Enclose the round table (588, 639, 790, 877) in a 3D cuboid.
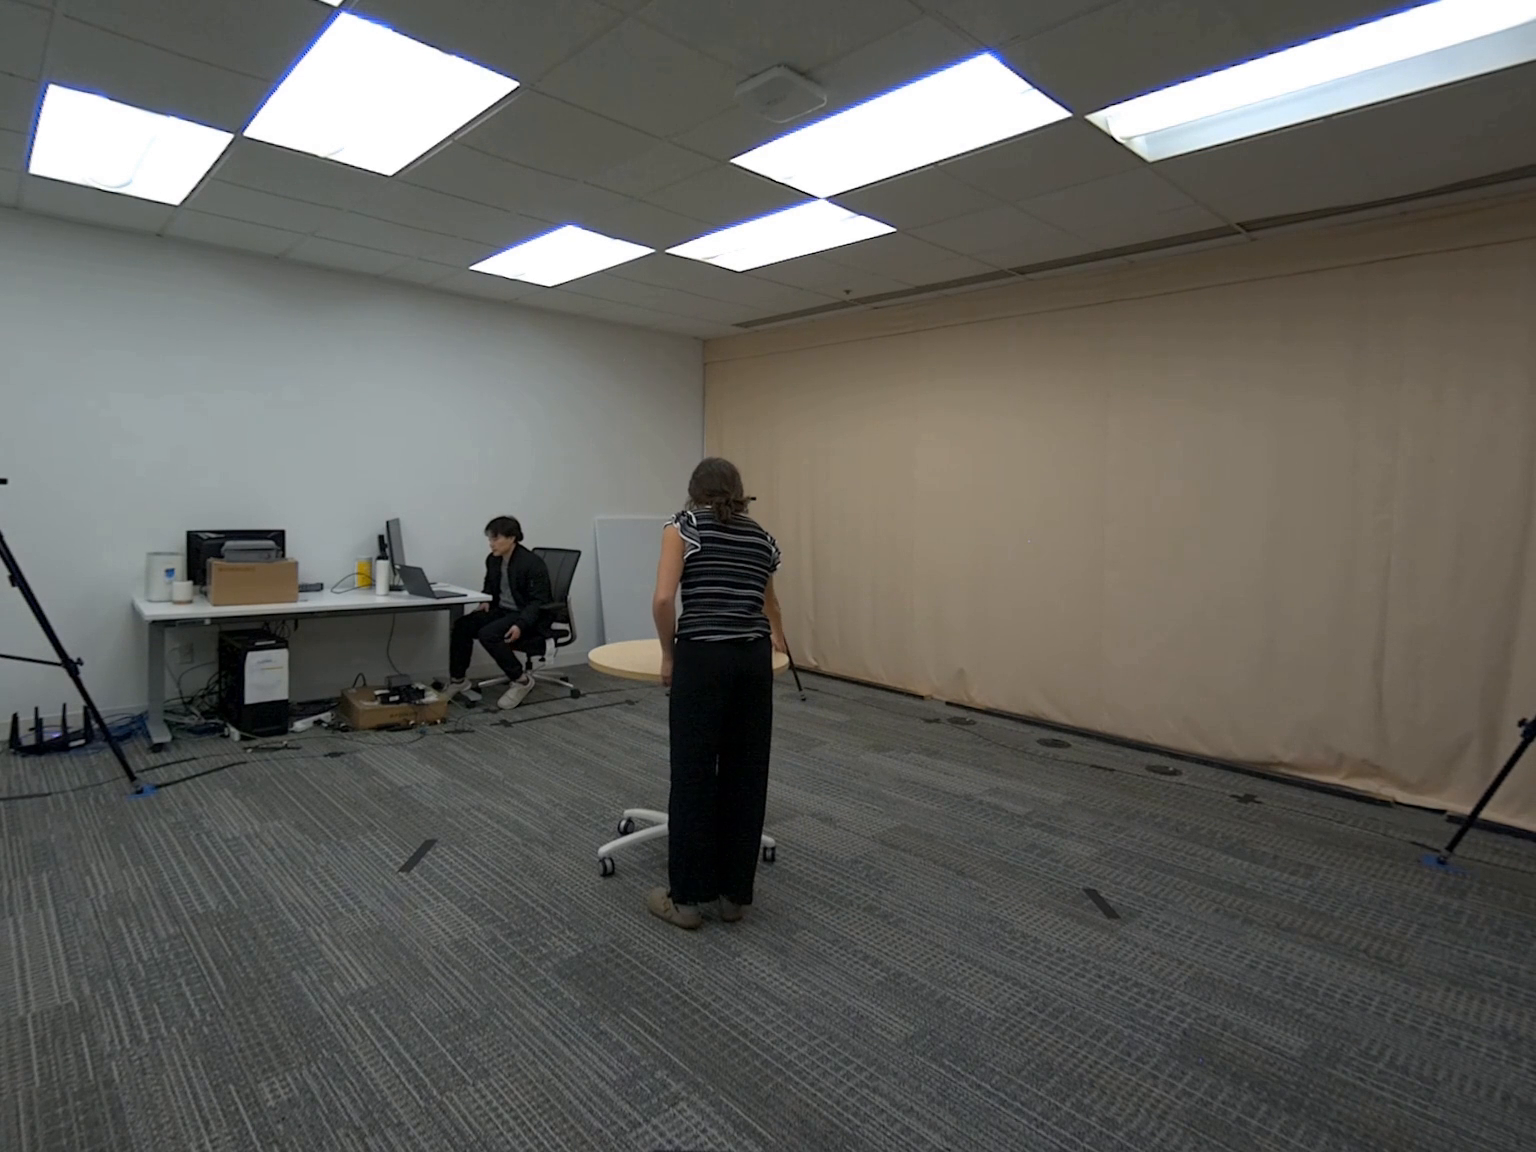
[{"bbox_3d":[-0.319,0.698,3.238,0.784,0.785,0.787,1,3,-1],"label":"round table"}]
